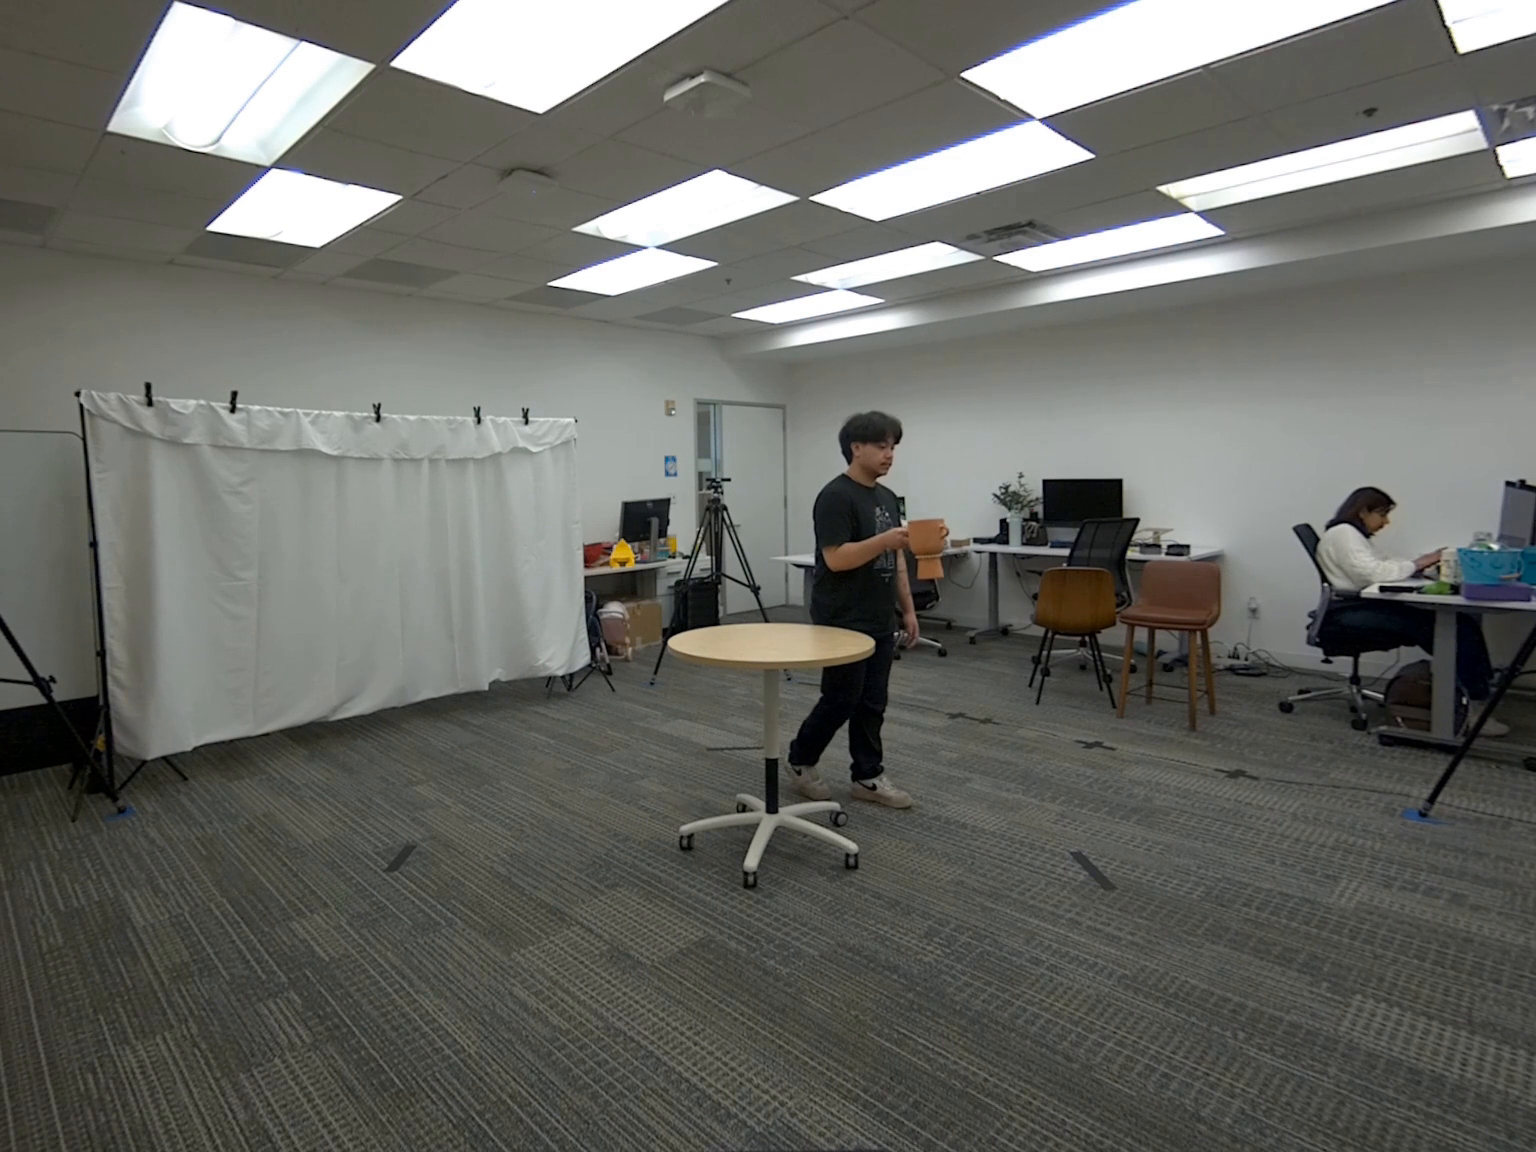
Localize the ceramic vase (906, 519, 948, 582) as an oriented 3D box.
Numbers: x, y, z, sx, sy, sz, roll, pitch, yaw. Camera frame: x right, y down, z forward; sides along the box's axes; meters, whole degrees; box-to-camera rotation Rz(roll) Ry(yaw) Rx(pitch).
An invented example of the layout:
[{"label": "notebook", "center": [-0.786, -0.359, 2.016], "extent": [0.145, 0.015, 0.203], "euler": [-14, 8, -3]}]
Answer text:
[{"label": "ceramic vase", "center": [0.595, -0.101, 3.210], "extent": [0.134, 0.220, 0.159], "euler": [-5, 1, -3]}]
